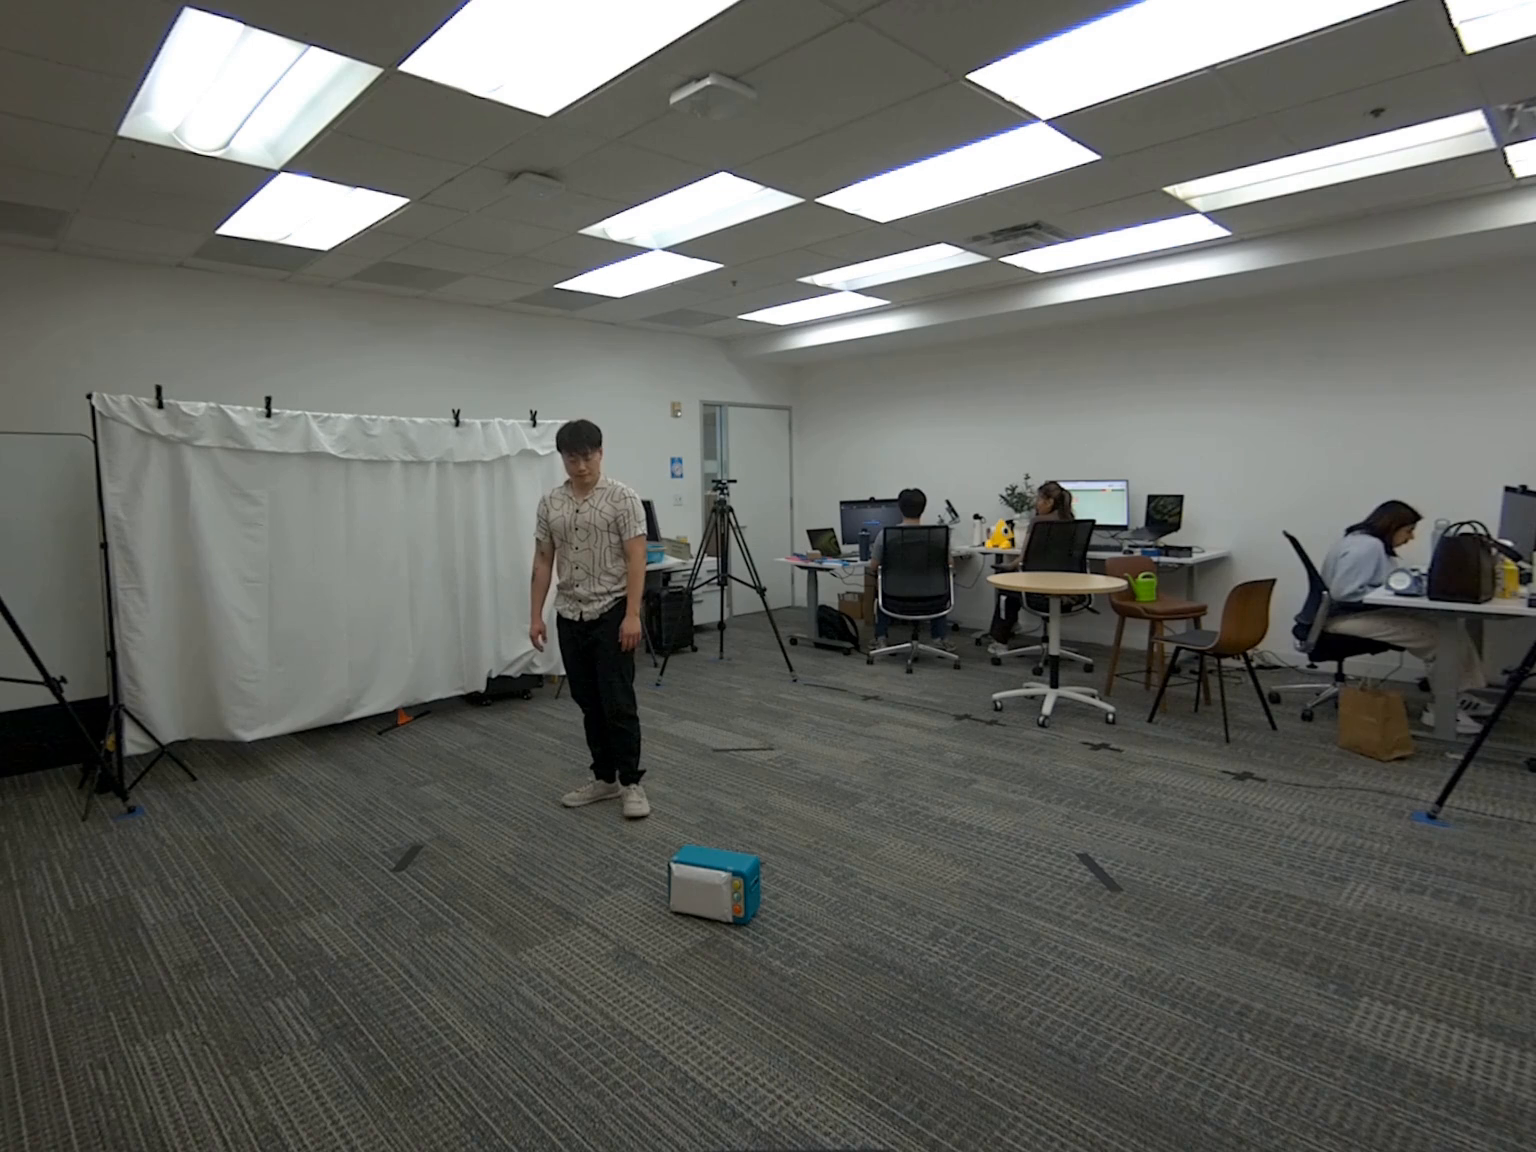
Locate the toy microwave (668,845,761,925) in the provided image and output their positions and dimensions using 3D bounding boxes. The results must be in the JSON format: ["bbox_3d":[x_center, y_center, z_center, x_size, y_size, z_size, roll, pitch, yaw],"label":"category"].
[{"bbox_3d":[-0.173,0.999,2.759,0.292,0.183,0.150,1,5,22],"label":"toy microwave"}]
